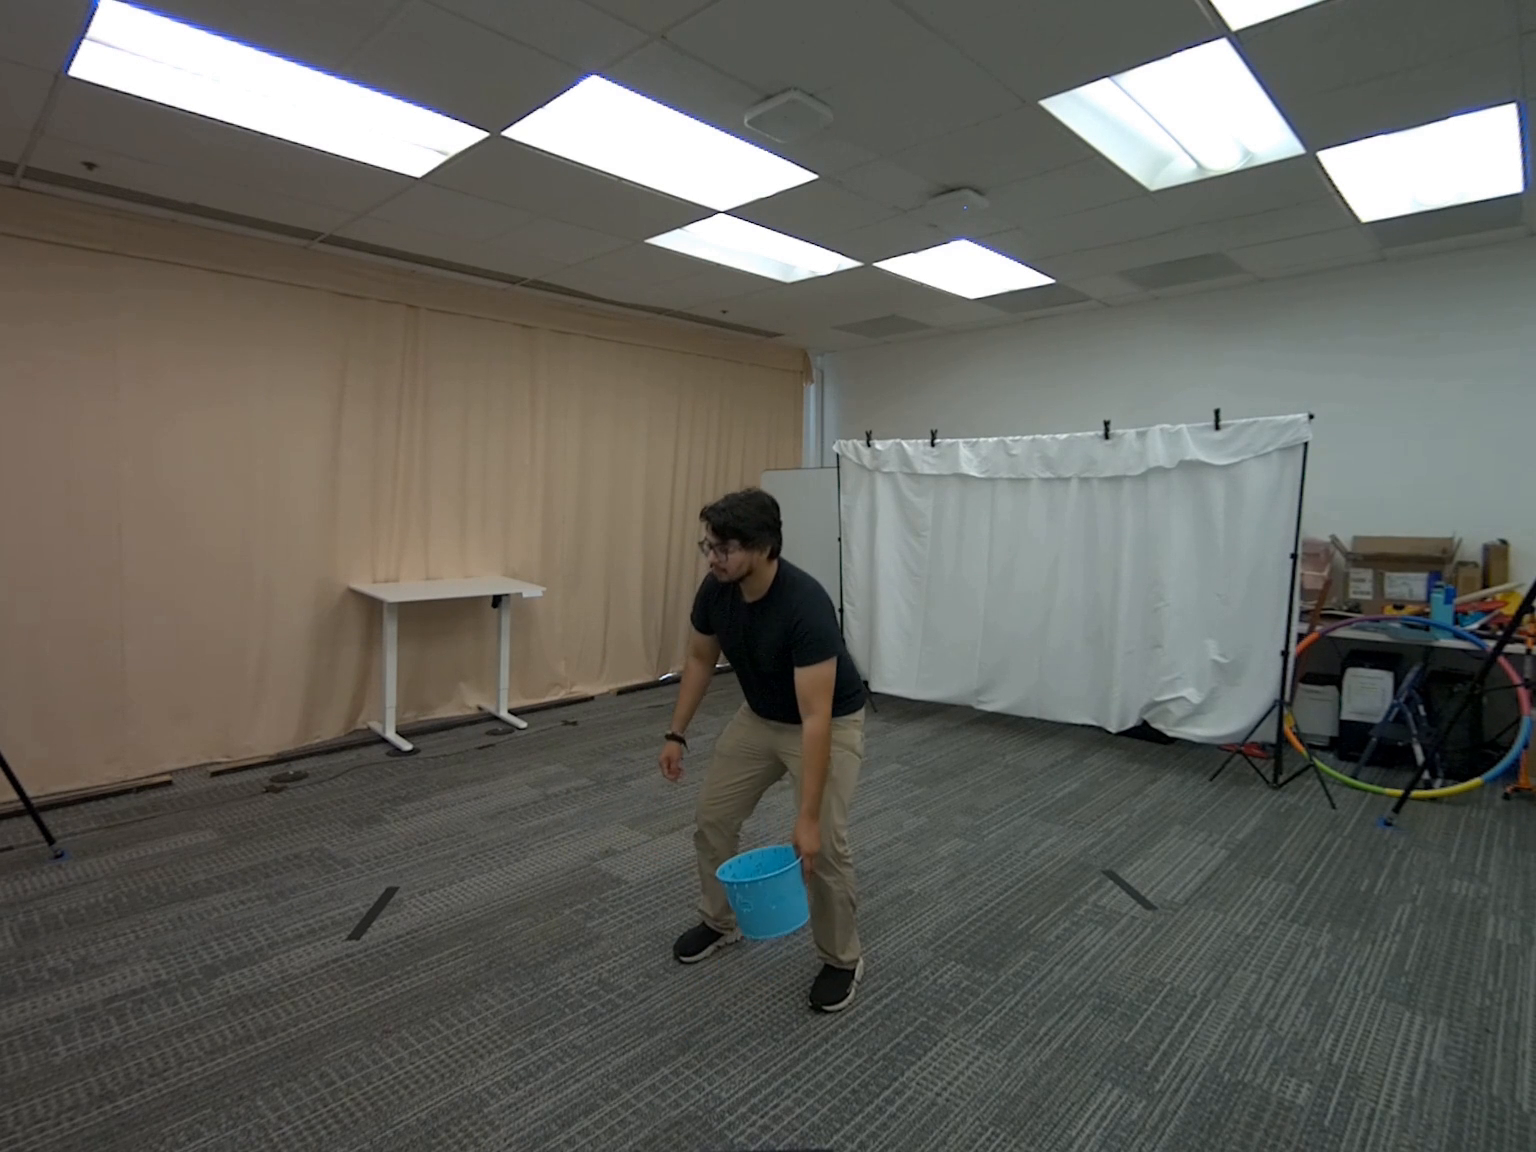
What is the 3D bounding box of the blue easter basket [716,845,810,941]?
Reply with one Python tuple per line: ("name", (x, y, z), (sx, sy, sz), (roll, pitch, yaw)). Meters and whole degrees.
("blue easter basket", (0.004, 0.797, 2.124), (0.243, 0.156, 0.243), (-10, -1, -2))
